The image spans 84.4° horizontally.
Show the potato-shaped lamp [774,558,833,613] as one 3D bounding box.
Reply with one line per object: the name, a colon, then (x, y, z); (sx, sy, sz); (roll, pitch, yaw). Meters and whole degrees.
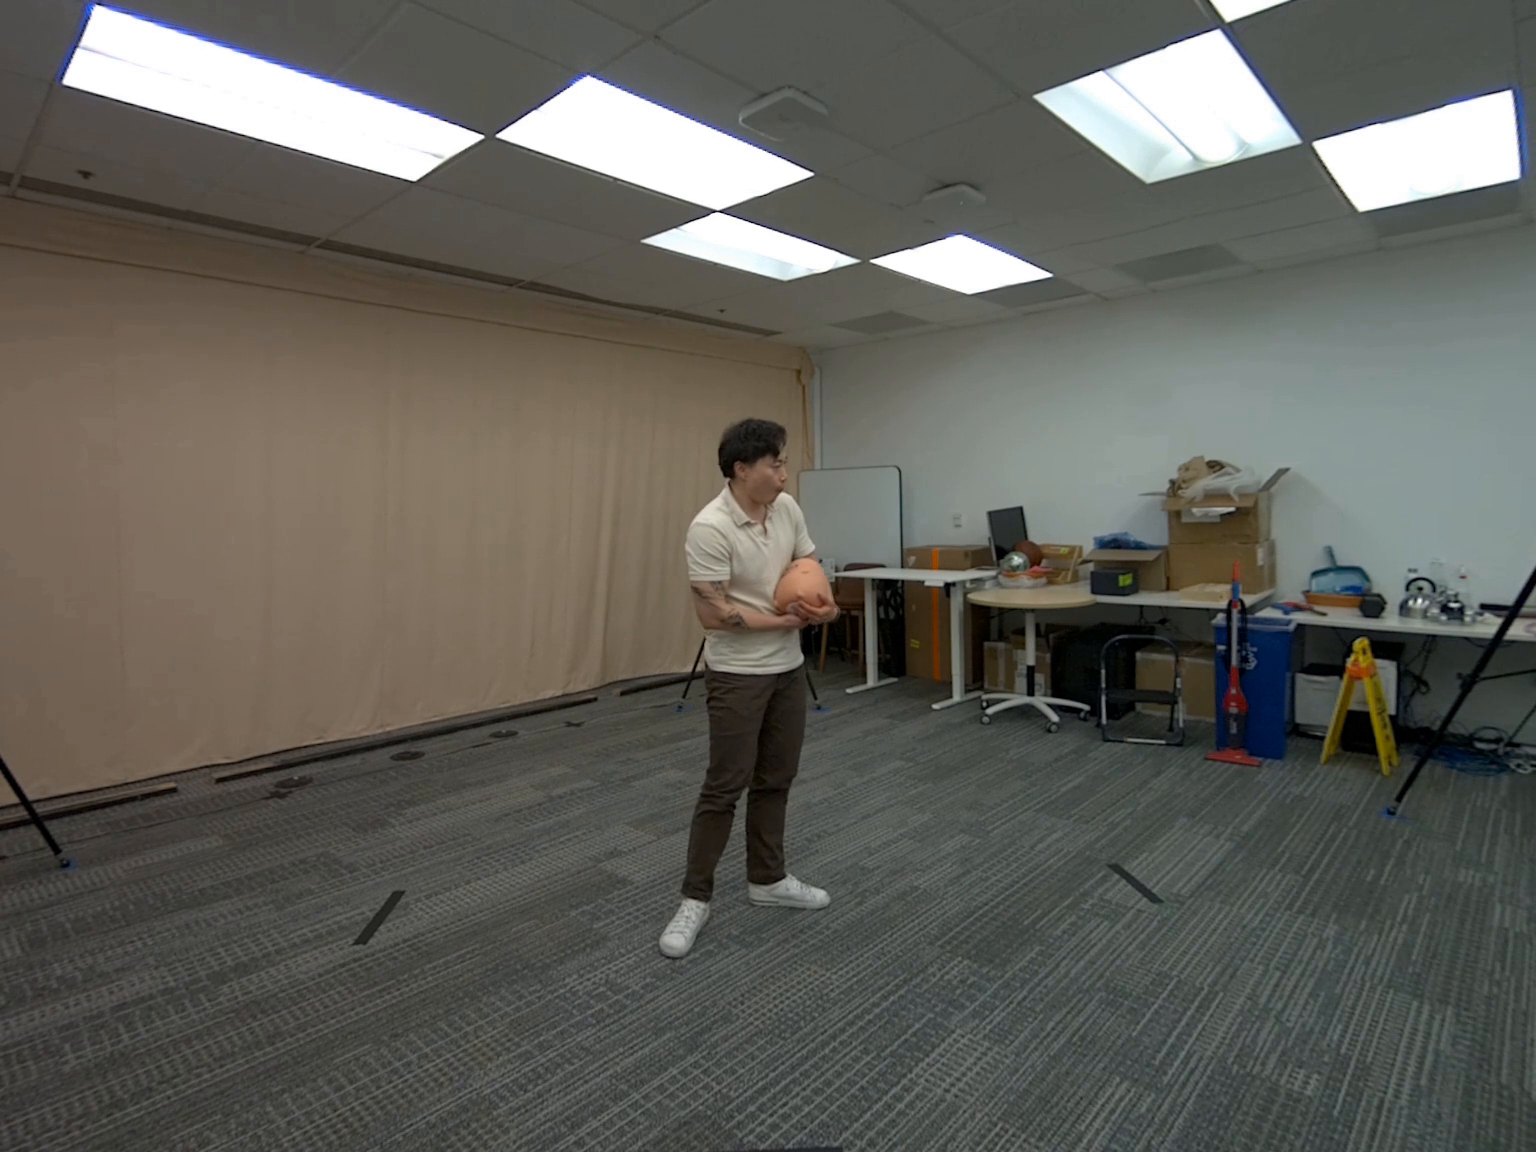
potato-shaped lamp: (0.103, 0.035, 2.779); (0.166, 0.202, 0.167); (25, -44, -34)
